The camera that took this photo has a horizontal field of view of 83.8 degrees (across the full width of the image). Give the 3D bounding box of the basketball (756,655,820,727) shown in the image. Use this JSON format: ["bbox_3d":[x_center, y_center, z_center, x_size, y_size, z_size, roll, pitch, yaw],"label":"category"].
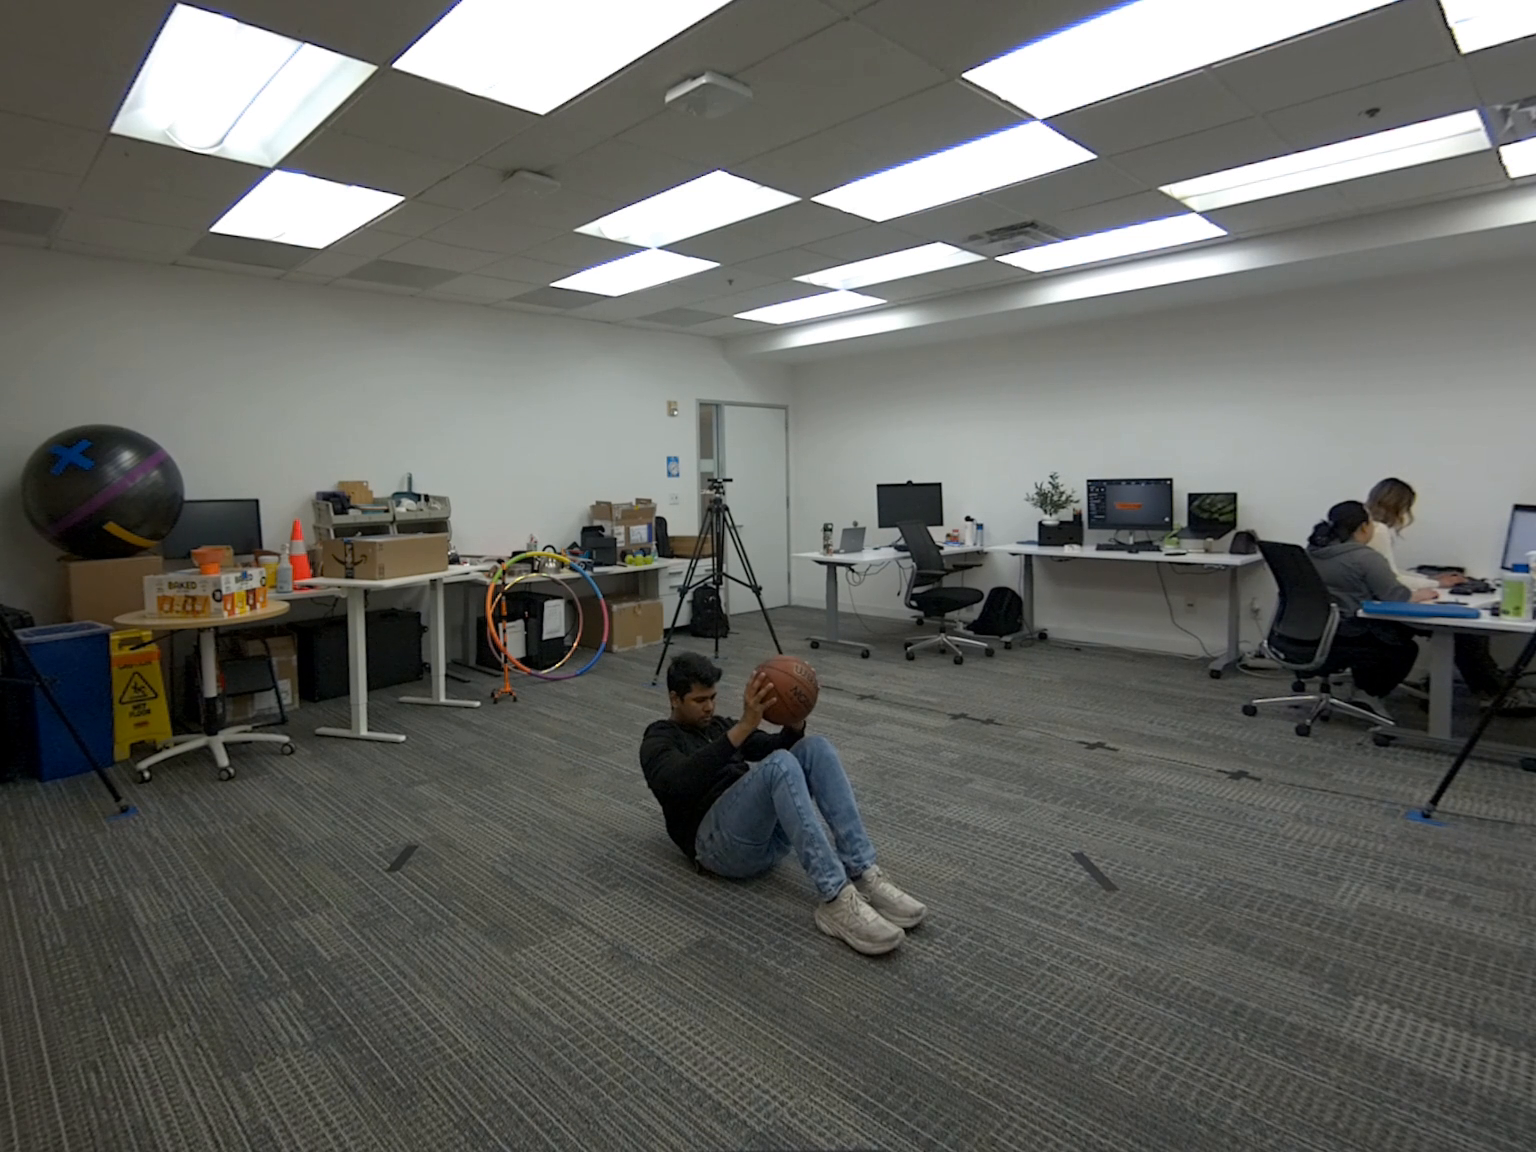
[{"bbox_3d":[0.054,0.395,2.930,0.236,0.235,0.237,-1,5,-2],"label":"basketball"}]
